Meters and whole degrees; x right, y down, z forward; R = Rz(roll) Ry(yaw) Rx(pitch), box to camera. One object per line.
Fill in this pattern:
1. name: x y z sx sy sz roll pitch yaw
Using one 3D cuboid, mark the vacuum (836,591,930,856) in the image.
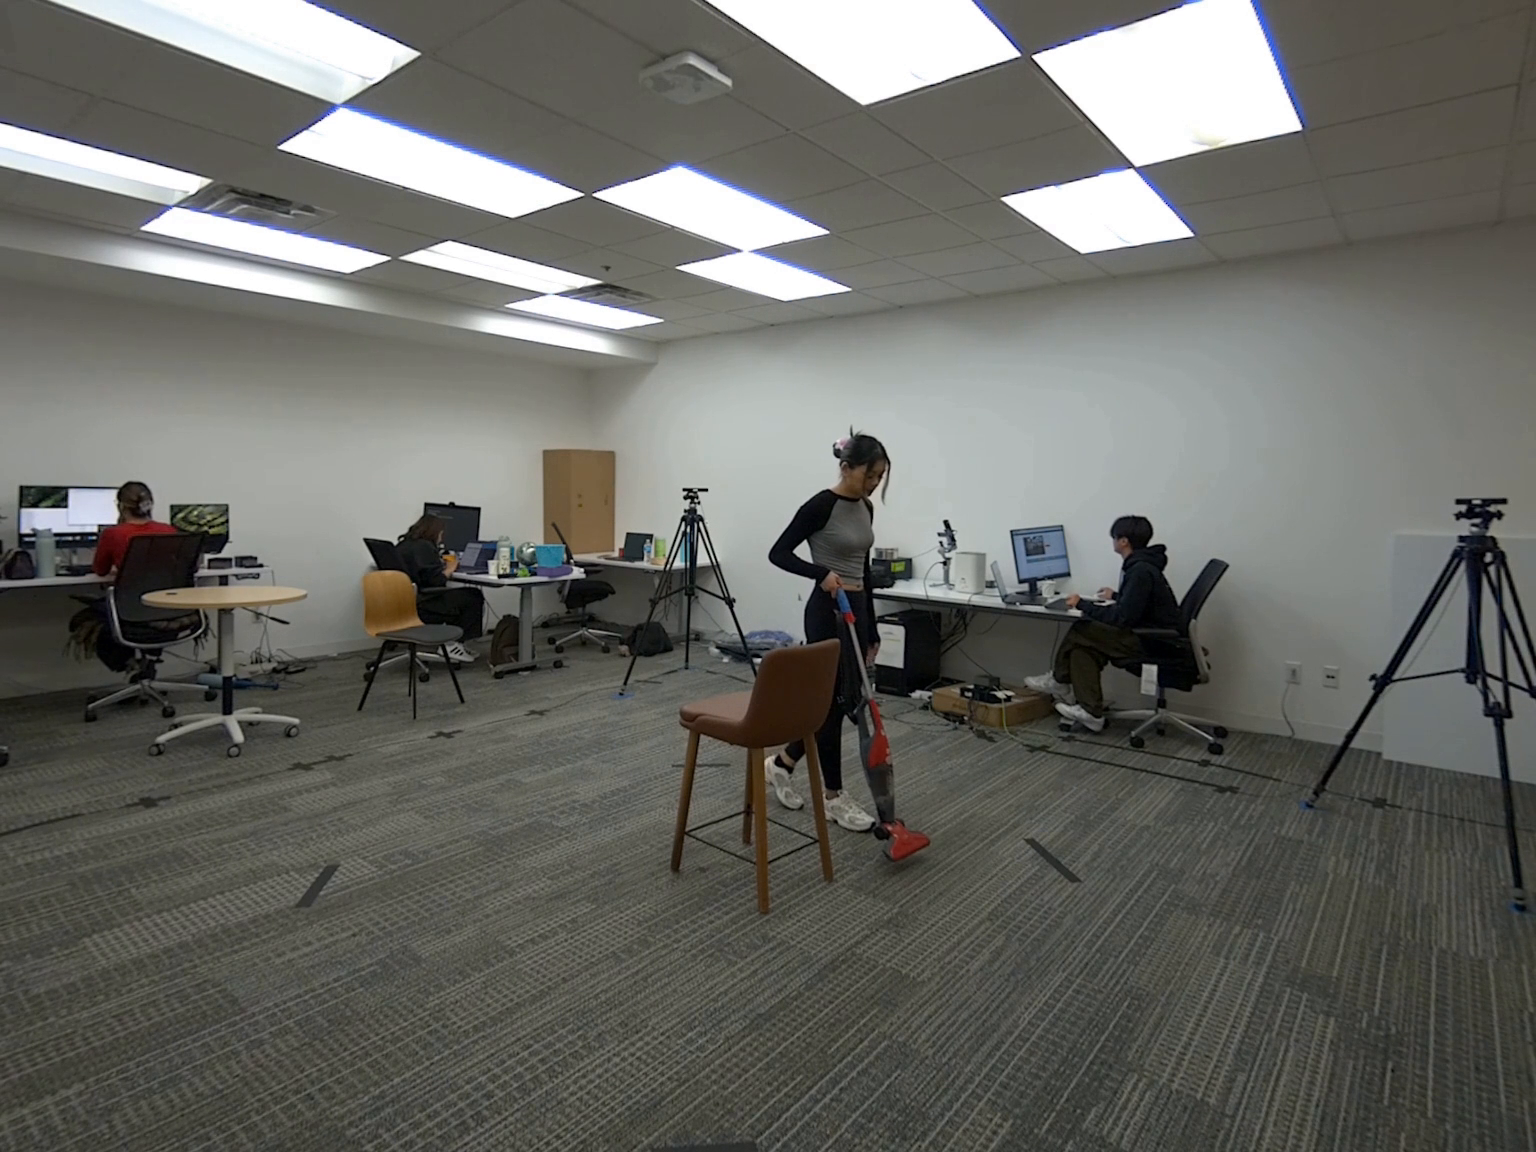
1. vacuum: 0.365 0.490 3.314 0.146 1.064 0.245 -24 -13 33
